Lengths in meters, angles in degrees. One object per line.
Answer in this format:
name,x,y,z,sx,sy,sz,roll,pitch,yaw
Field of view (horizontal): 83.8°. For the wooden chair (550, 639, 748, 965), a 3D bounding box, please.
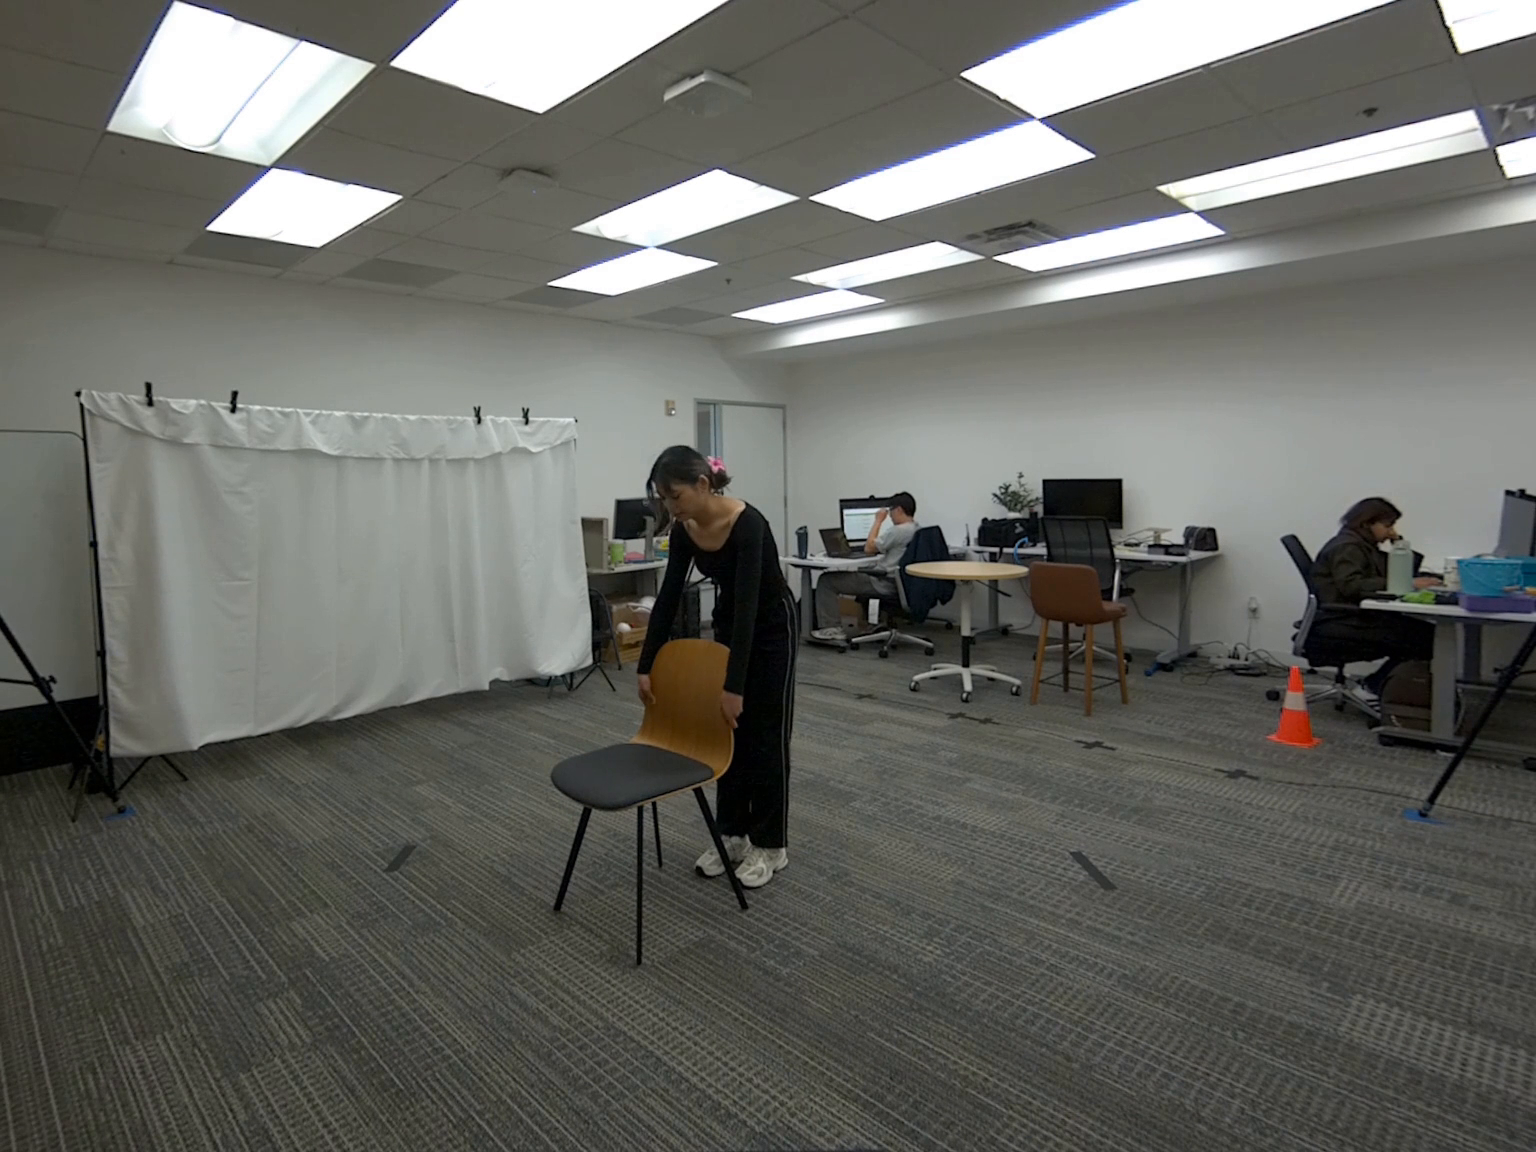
wooden chair,-0.393,0.664,2.733,0.493,0.876,0.508,4,2,45
